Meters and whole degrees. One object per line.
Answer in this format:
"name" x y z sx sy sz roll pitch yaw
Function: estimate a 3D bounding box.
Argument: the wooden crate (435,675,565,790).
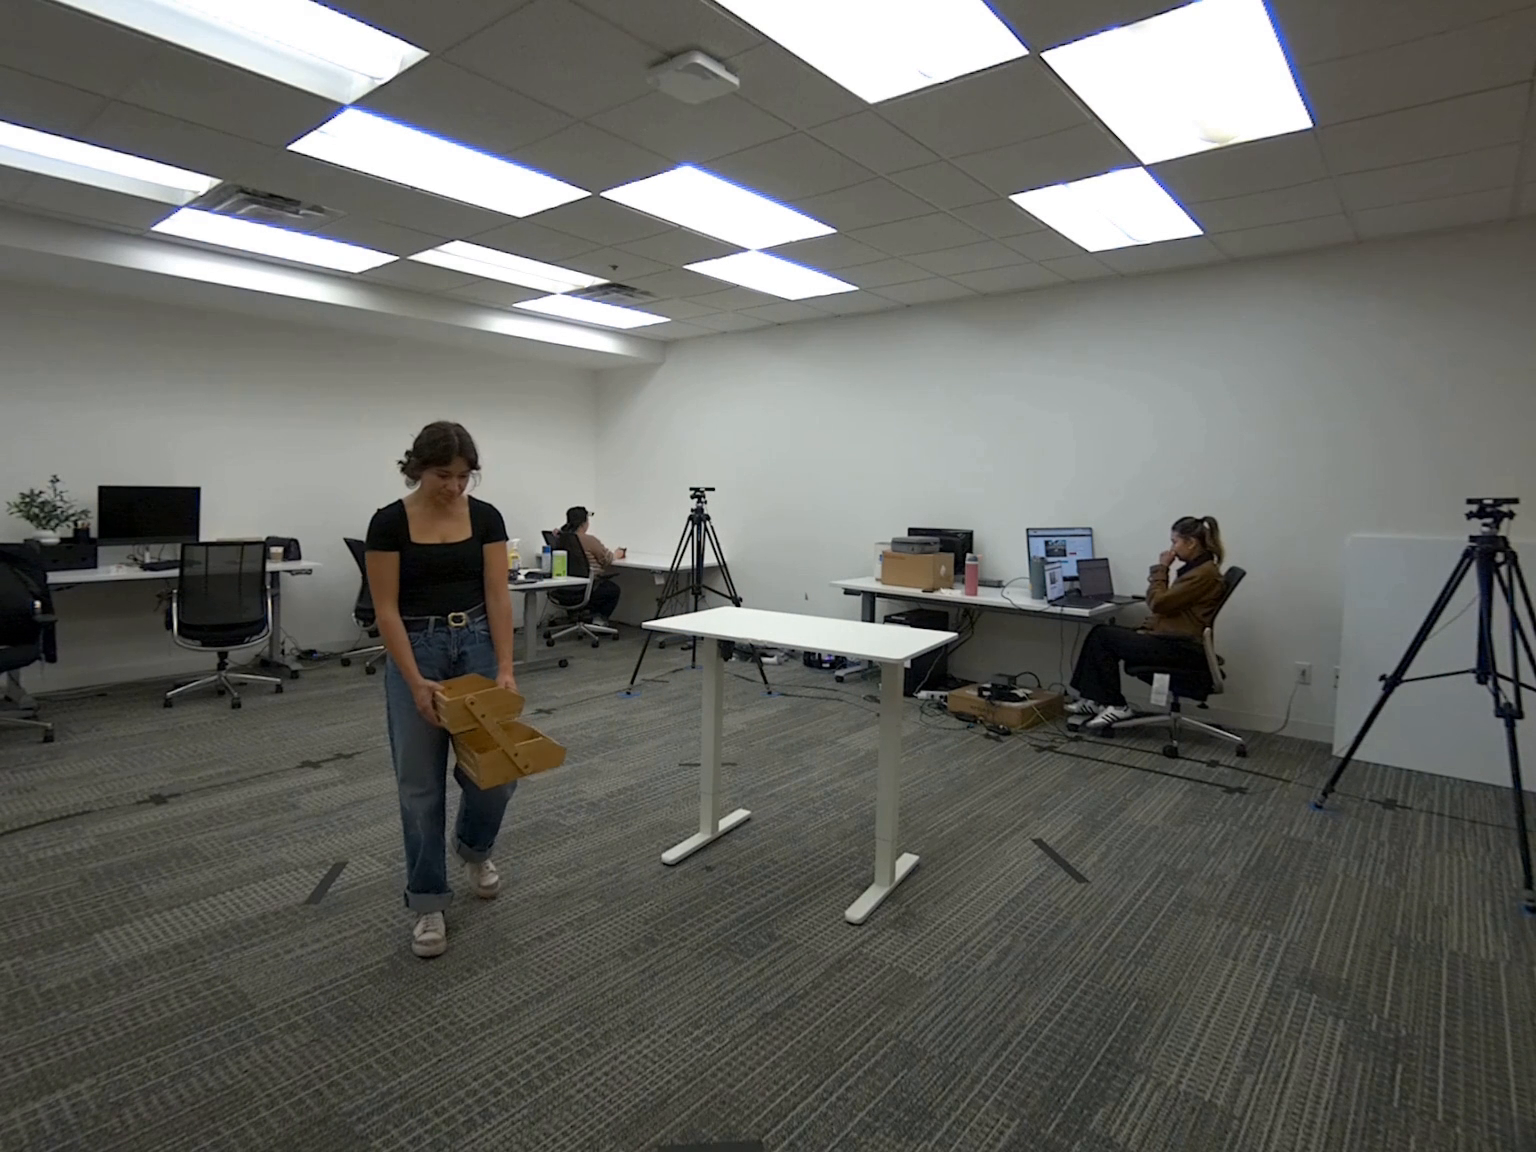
"wooden crate" -0.802 0.422 2.454 0.295 0.272 0.333 -12 6 -29
